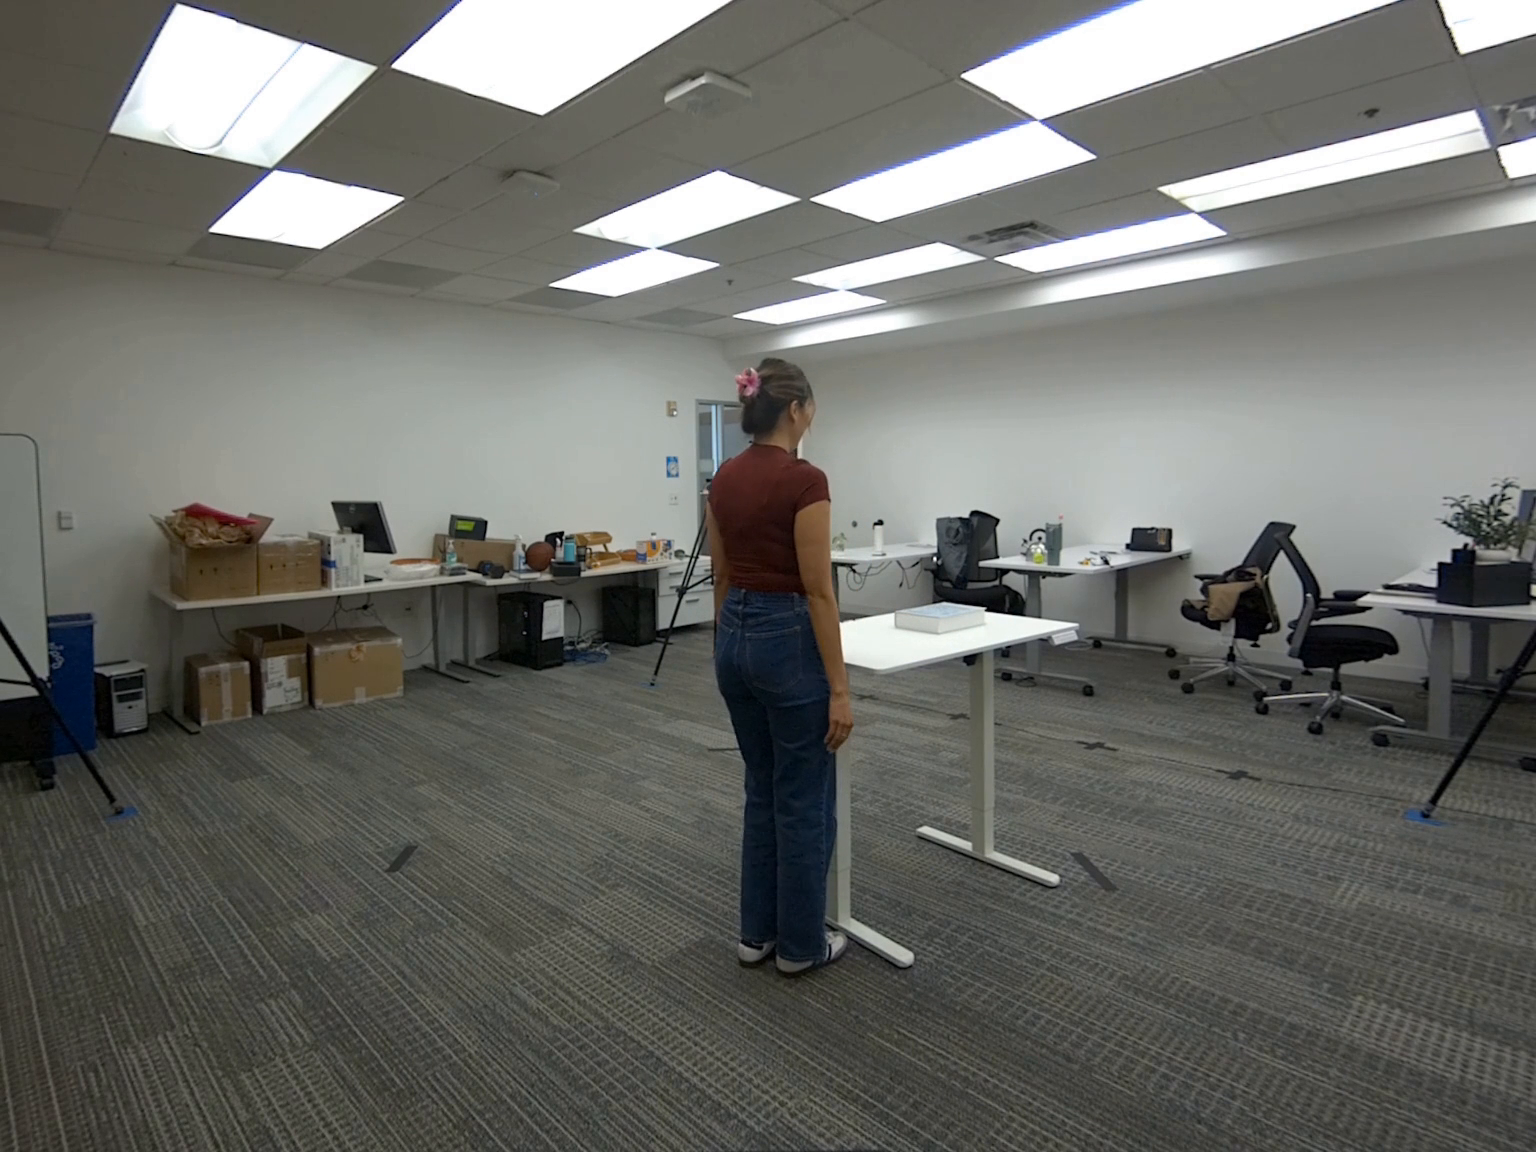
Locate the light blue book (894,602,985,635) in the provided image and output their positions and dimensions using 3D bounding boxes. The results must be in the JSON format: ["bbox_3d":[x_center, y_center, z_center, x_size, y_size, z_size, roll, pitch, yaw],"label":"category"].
[{"bbox_3d":[0.602,0.144,2.922,0.254,0.059,0.197,-7,8,-40],"label":"light blue book"}]
